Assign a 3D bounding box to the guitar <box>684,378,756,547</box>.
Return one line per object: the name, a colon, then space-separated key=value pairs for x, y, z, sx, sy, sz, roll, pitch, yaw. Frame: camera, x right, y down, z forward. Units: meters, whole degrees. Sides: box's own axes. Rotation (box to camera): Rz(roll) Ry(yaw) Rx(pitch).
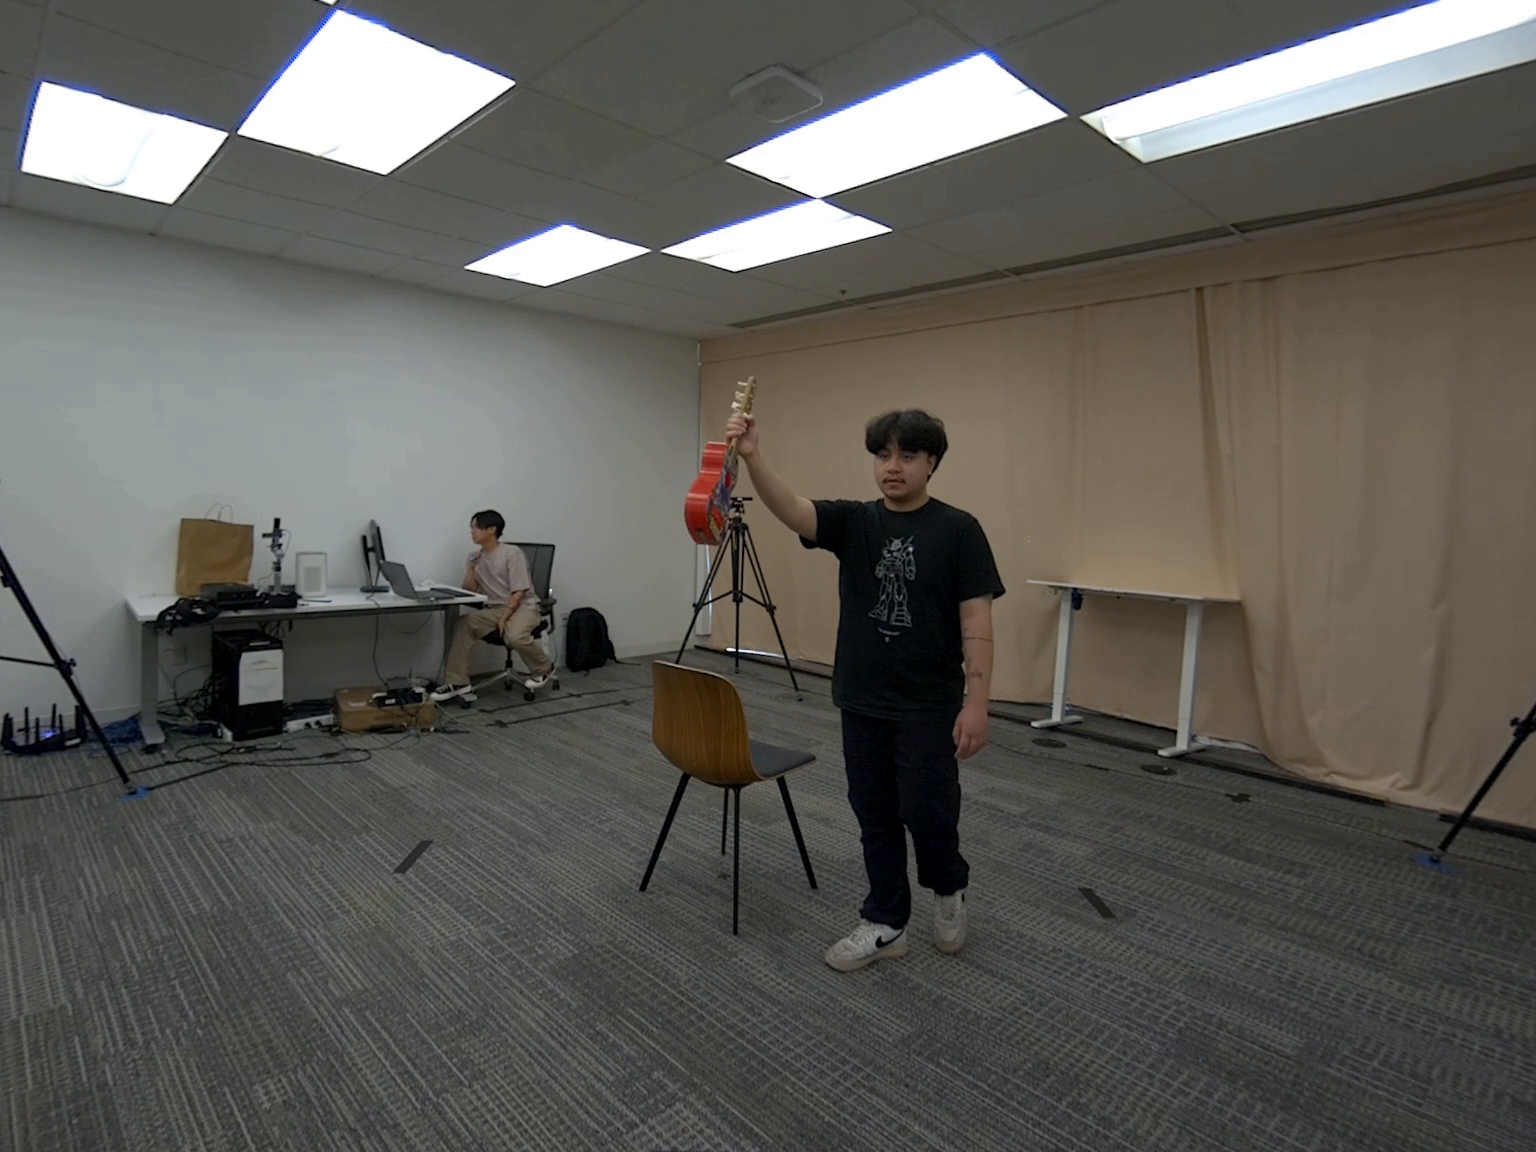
guitar: x=-0.118 y=-0.306 z=2.270 sx=0.072 sy=0.504 sz=0.188 roll=7 pitch=-32 yaw=16
